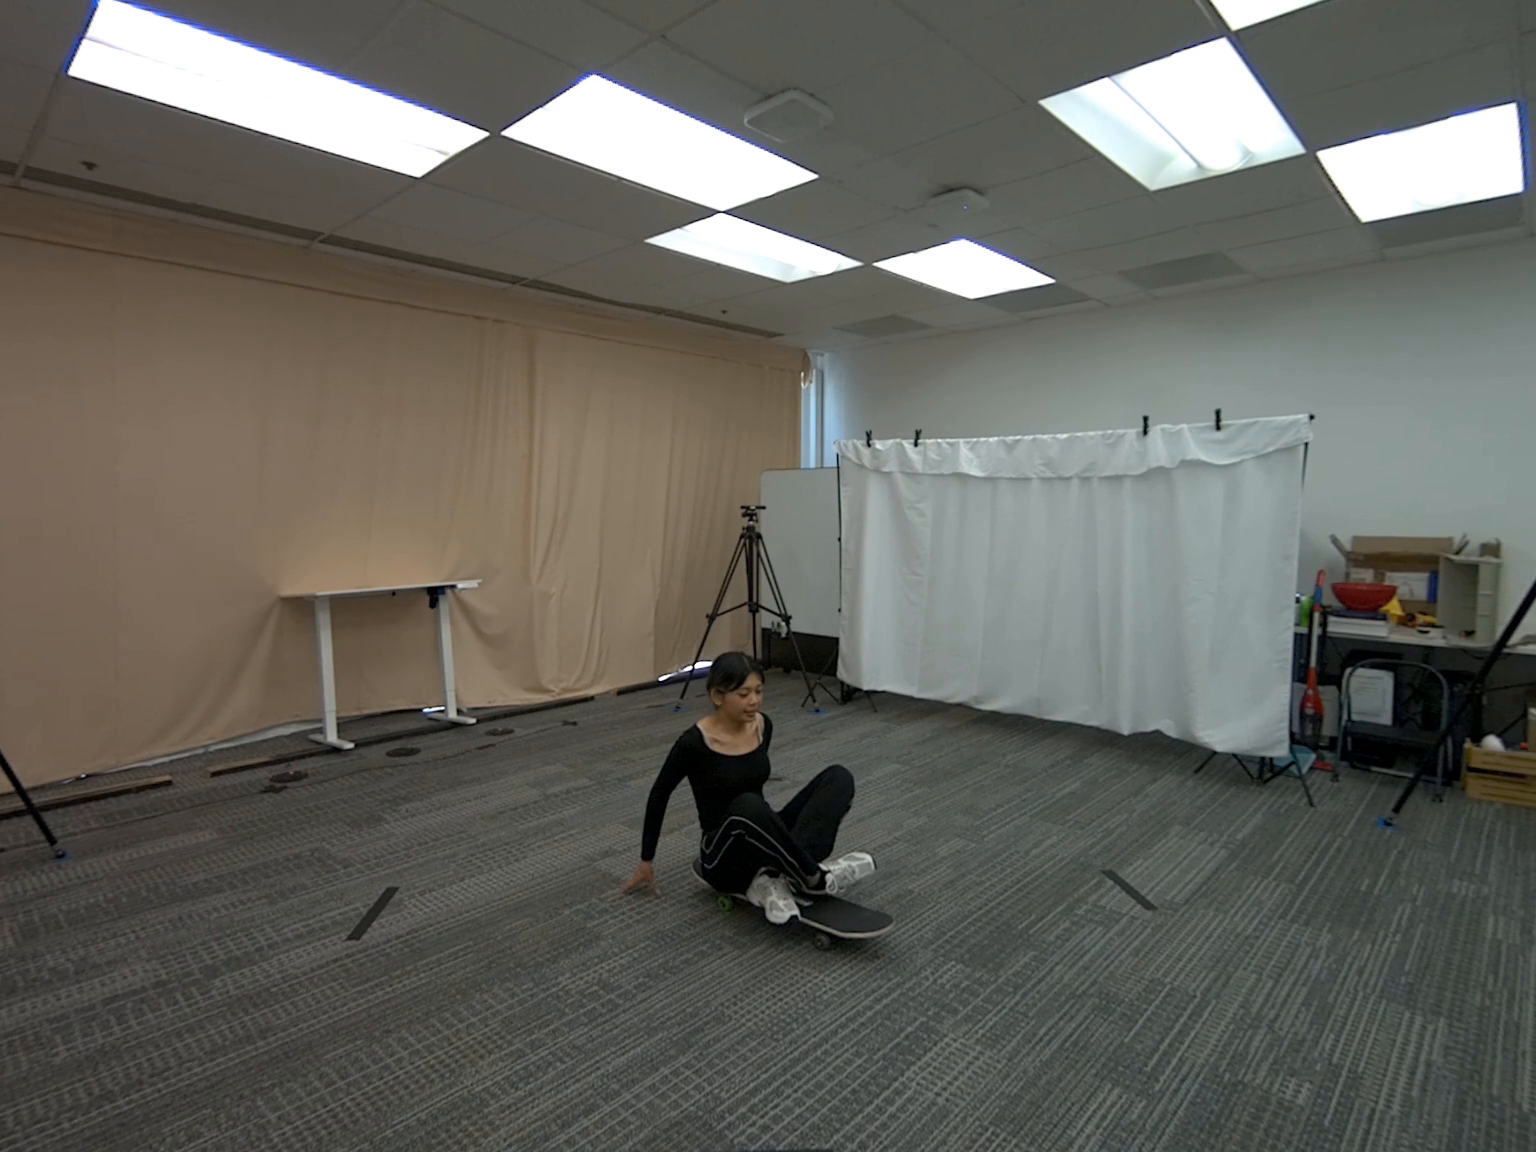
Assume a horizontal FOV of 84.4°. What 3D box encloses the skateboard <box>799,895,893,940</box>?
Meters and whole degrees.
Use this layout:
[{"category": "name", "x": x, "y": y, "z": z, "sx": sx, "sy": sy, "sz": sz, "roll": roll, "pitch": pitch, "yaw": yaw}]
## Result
[{"category": "skateboard", "x": 0.078, "y": 1.091, "z": 2.823, "sx": 0.810, "sy": 0.110, "sz": 0.188, "roll": 1, "pitch": 5, "yaw": 36}]
